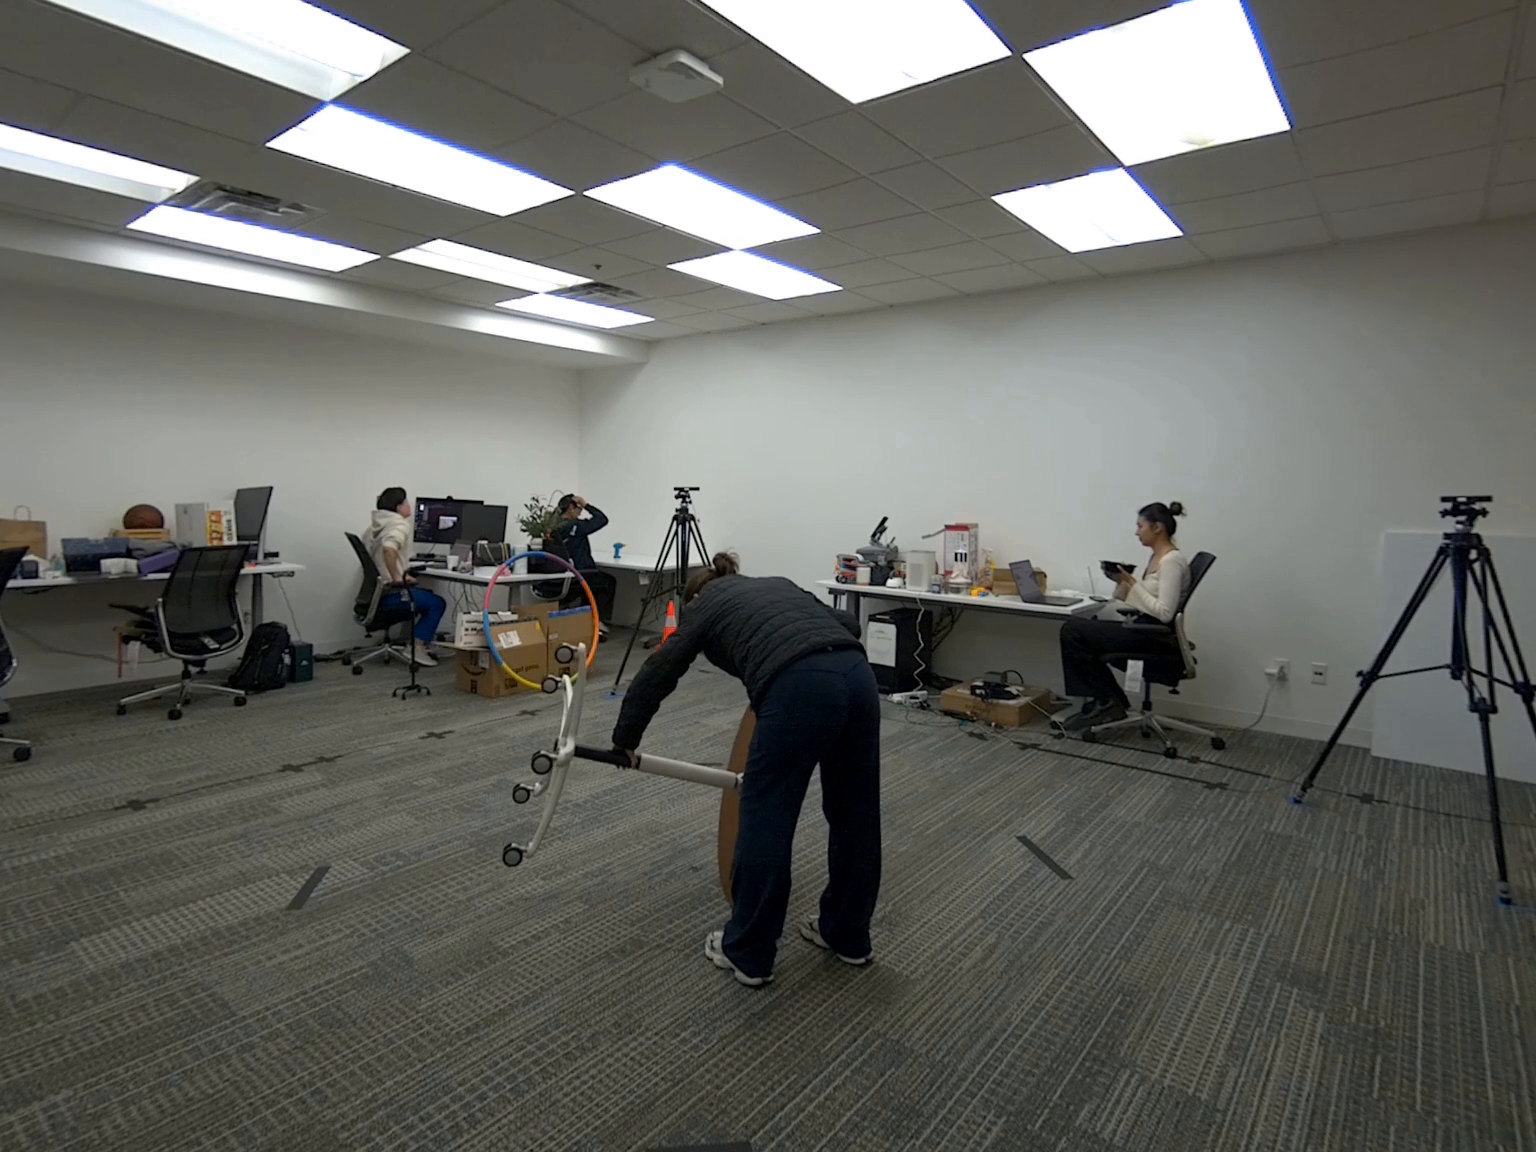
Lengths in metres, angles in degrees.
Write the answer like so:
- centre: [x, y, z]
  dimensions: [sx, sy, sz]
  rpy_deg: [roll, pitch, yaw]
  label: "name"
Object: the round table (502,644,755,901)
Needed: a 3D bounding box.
- centre: [-0.387, 0.630, 2.851]
  dimensions: [0.777, 0.784, 0.796]
  rpy_deg: [14, 2, -11]
  label: "round table"
